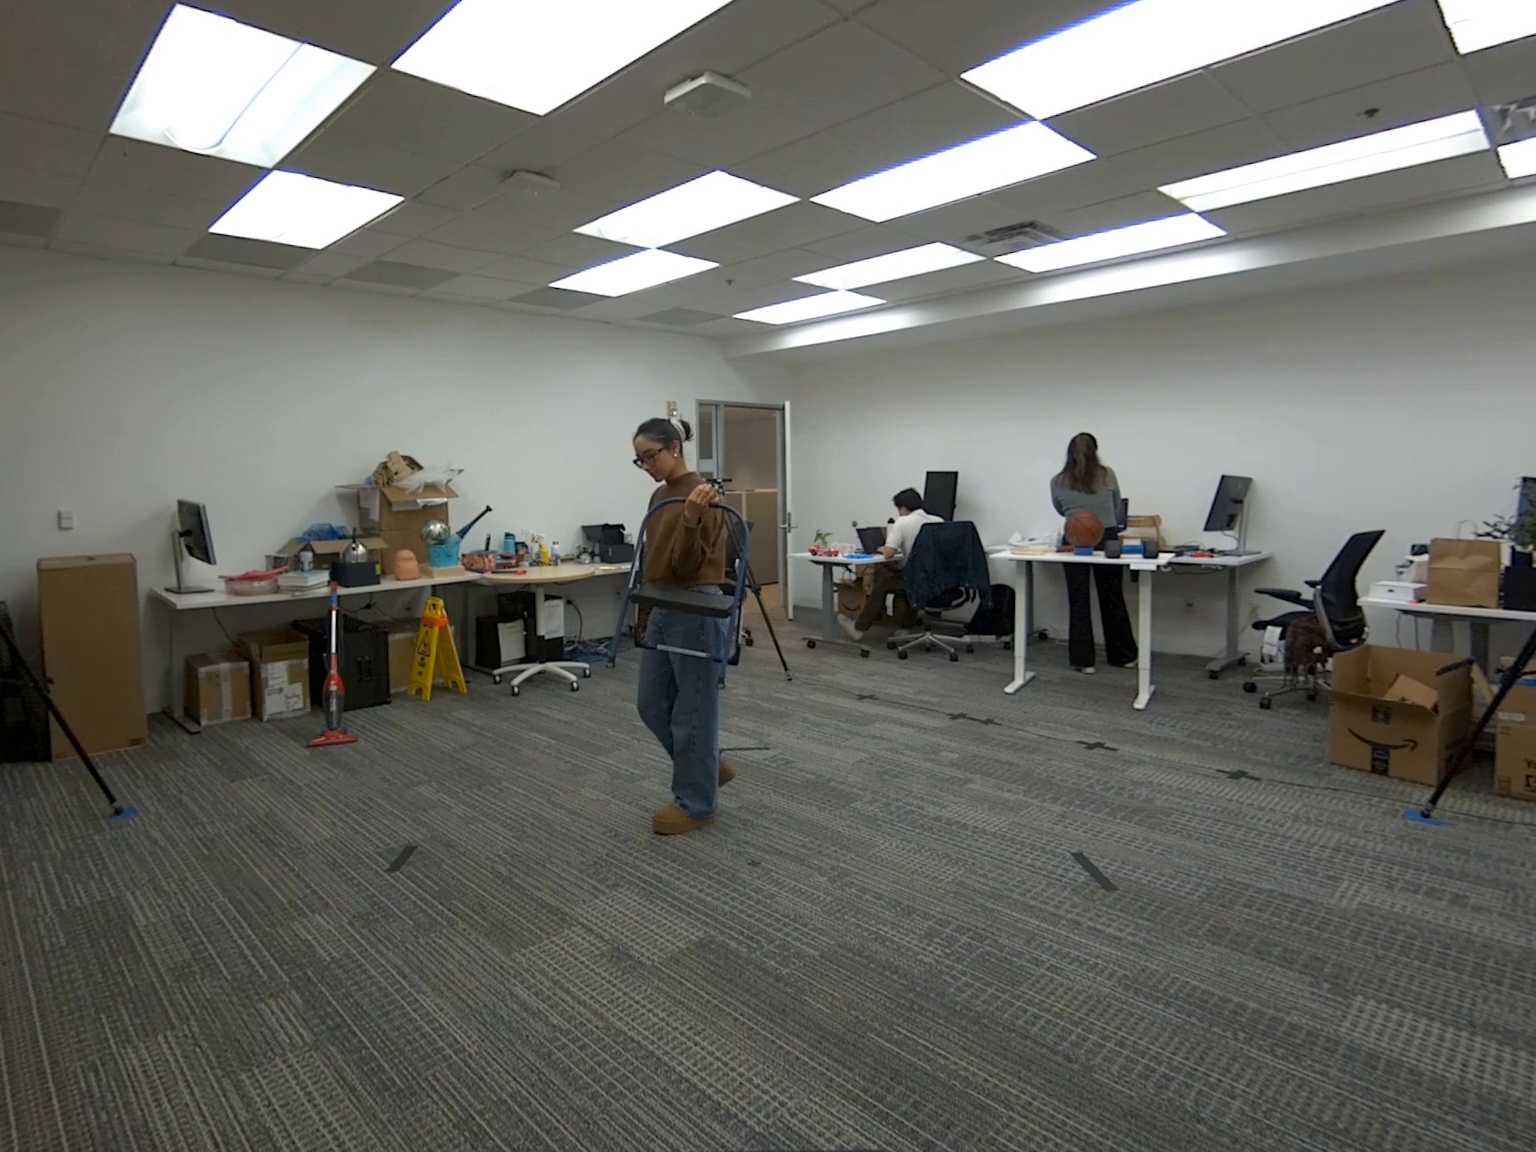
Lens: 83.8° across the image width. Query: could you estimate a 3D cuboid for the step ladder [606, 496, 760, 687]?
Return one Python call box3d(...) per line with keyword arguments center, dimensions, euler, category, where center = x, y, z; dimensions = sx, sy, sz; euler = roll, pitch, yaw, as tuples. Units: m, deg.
box3d(center=(-0.289, 0.027, 3.071), dimensions=(0.435, 0.603, 0.347), euler=(9, 7, 9), category="step ladder")
